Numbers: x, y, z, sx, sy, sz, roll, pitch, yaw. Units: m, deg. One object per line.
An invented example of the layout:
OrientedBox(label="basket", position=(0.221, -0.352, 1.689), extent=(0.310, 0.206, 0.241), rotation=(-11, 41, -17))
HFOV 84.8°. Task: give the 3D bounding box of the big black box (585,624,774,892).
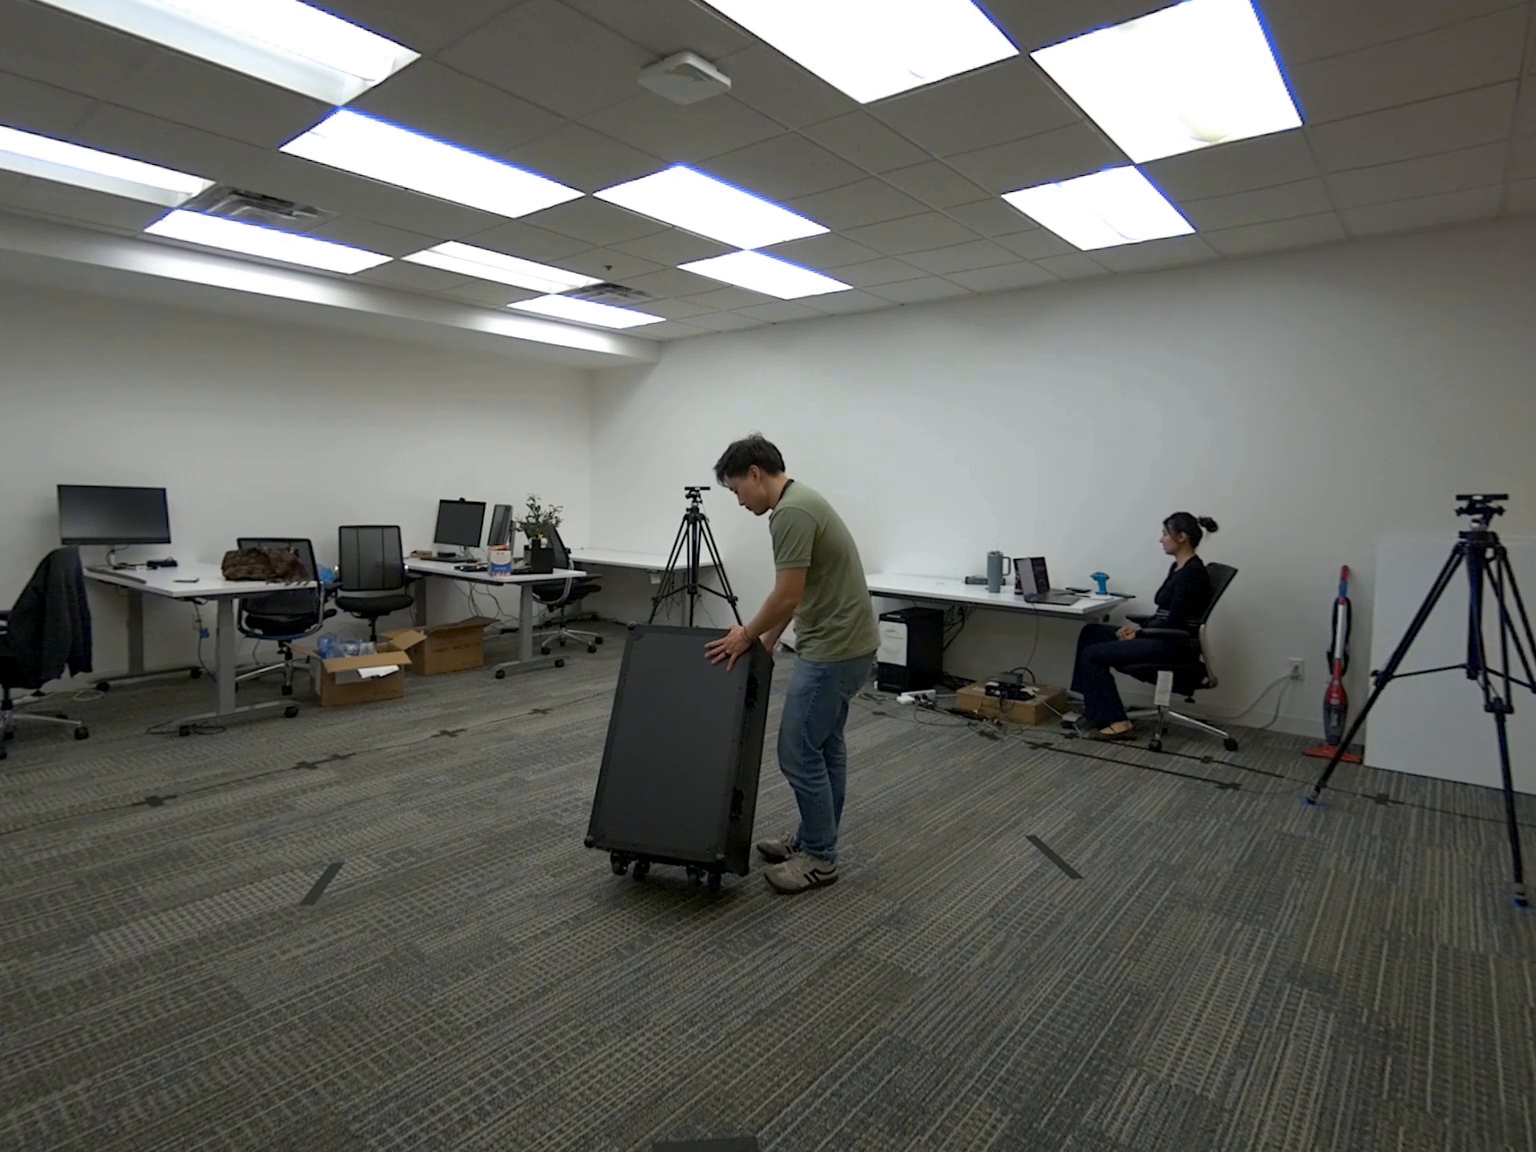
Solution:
OrientedBox(label="big black box", position=(-0.312, 0.645, 3.050), extent=(0.530, 0.878, 0.382), rotation=(1, -26, 15))
